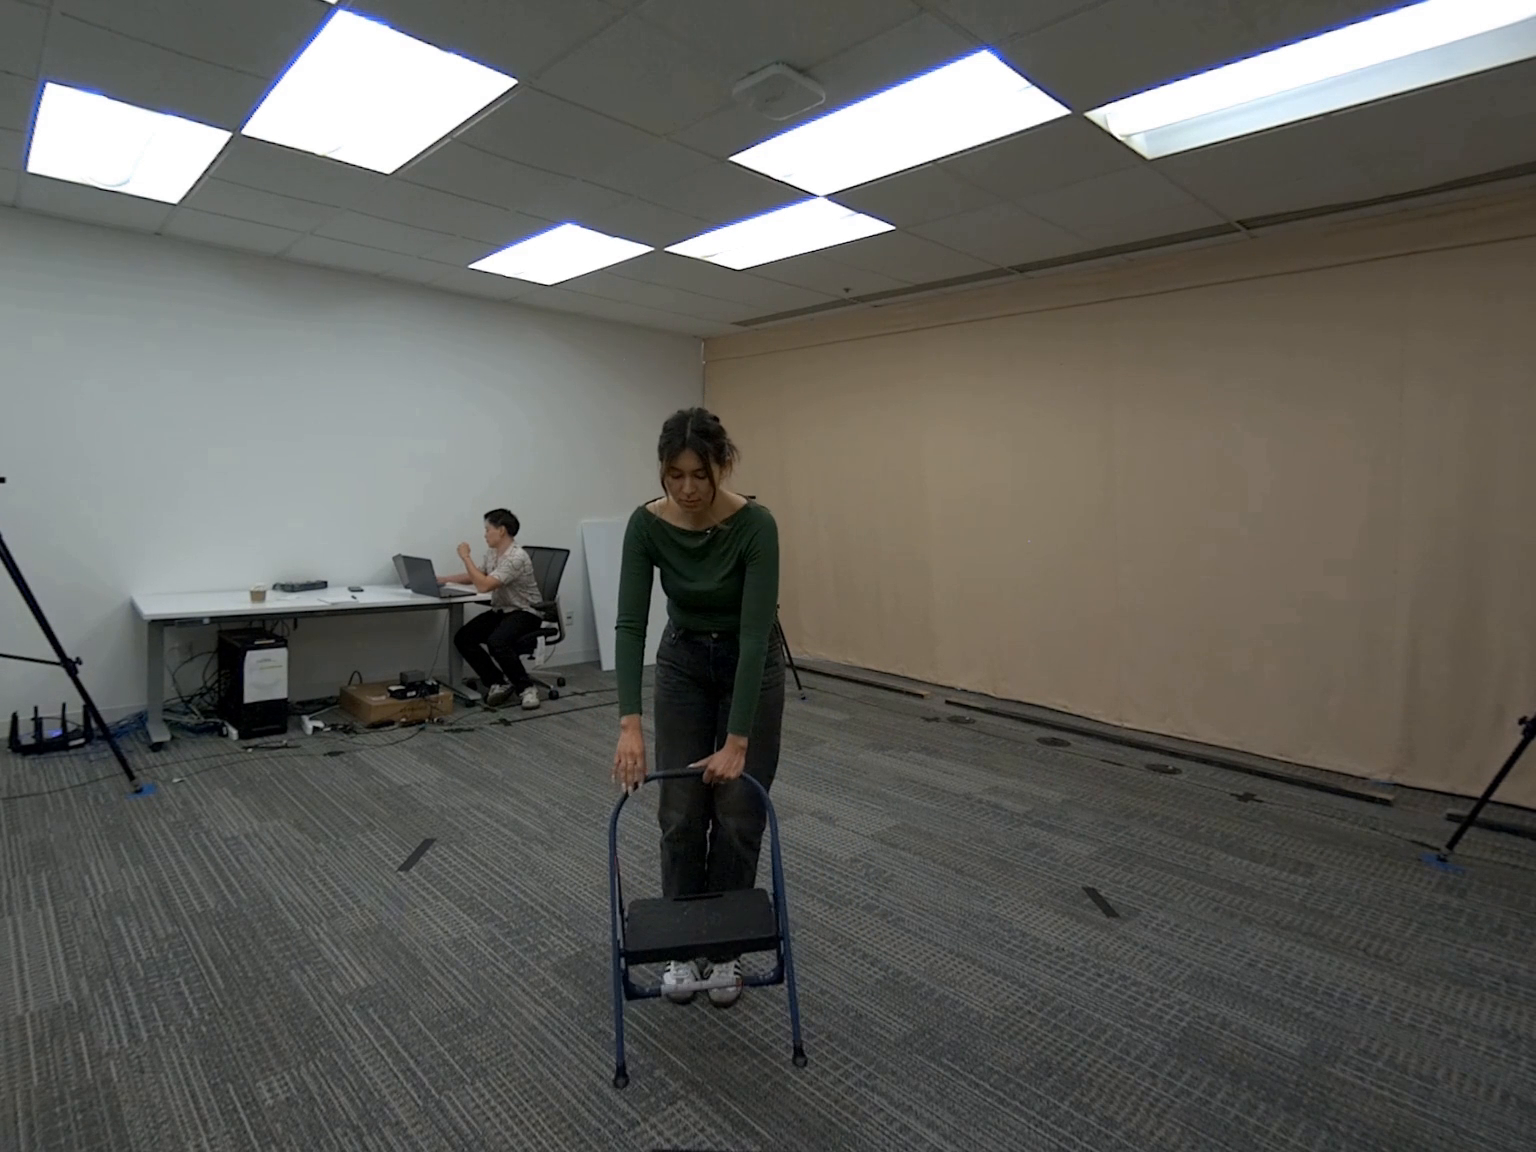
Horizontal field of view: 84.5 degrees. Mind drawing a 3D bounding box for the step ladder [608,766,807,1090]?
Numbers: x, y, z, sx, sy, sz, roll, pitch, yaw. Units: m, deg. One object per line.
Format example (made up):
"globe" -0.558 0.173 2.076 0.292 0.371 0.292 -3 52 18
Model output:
"step ladder" -0.166 0.786 1.992 0.428 0.605 0.351 -4 3 -7
